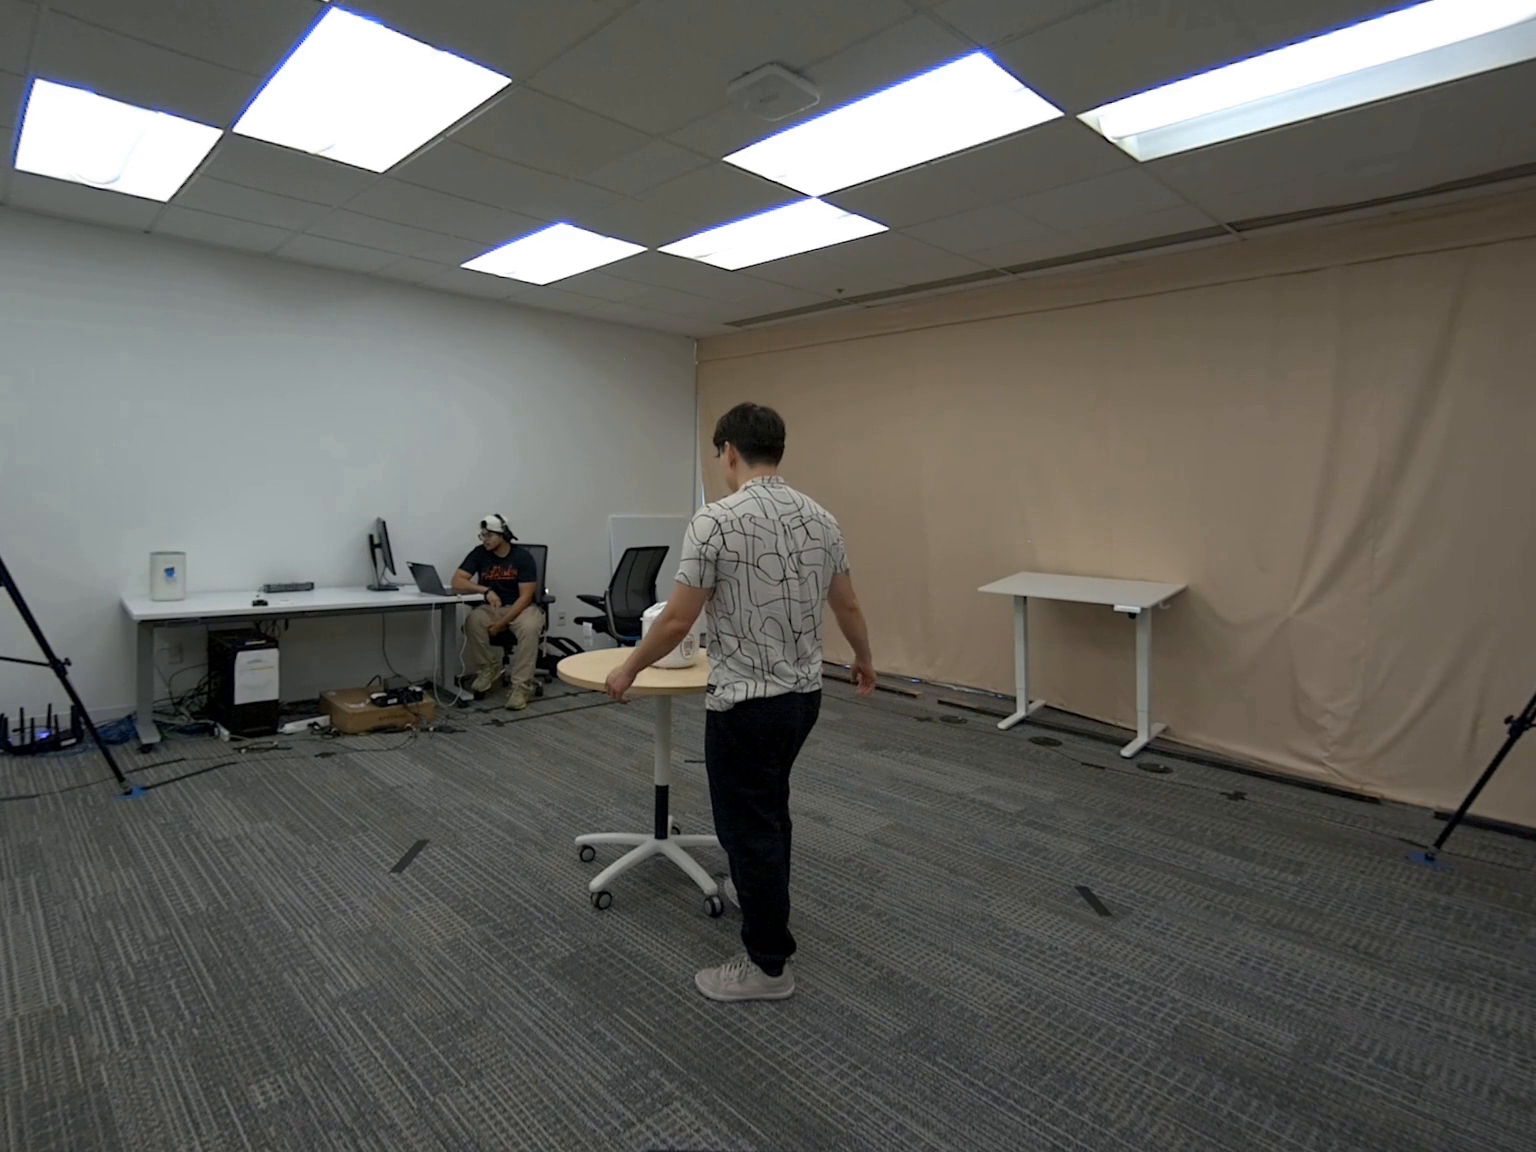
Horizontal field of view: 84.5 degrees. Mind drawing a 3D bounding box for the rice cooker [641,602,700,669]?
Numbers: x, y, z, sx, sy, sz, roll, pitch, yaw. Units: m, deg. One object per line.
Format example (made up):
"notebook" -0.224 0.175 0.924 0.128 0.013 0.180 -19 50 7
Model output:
"rice cooker" -0.354 0.207 3.043 0.215 0.232 0.223 -1 3 -40
